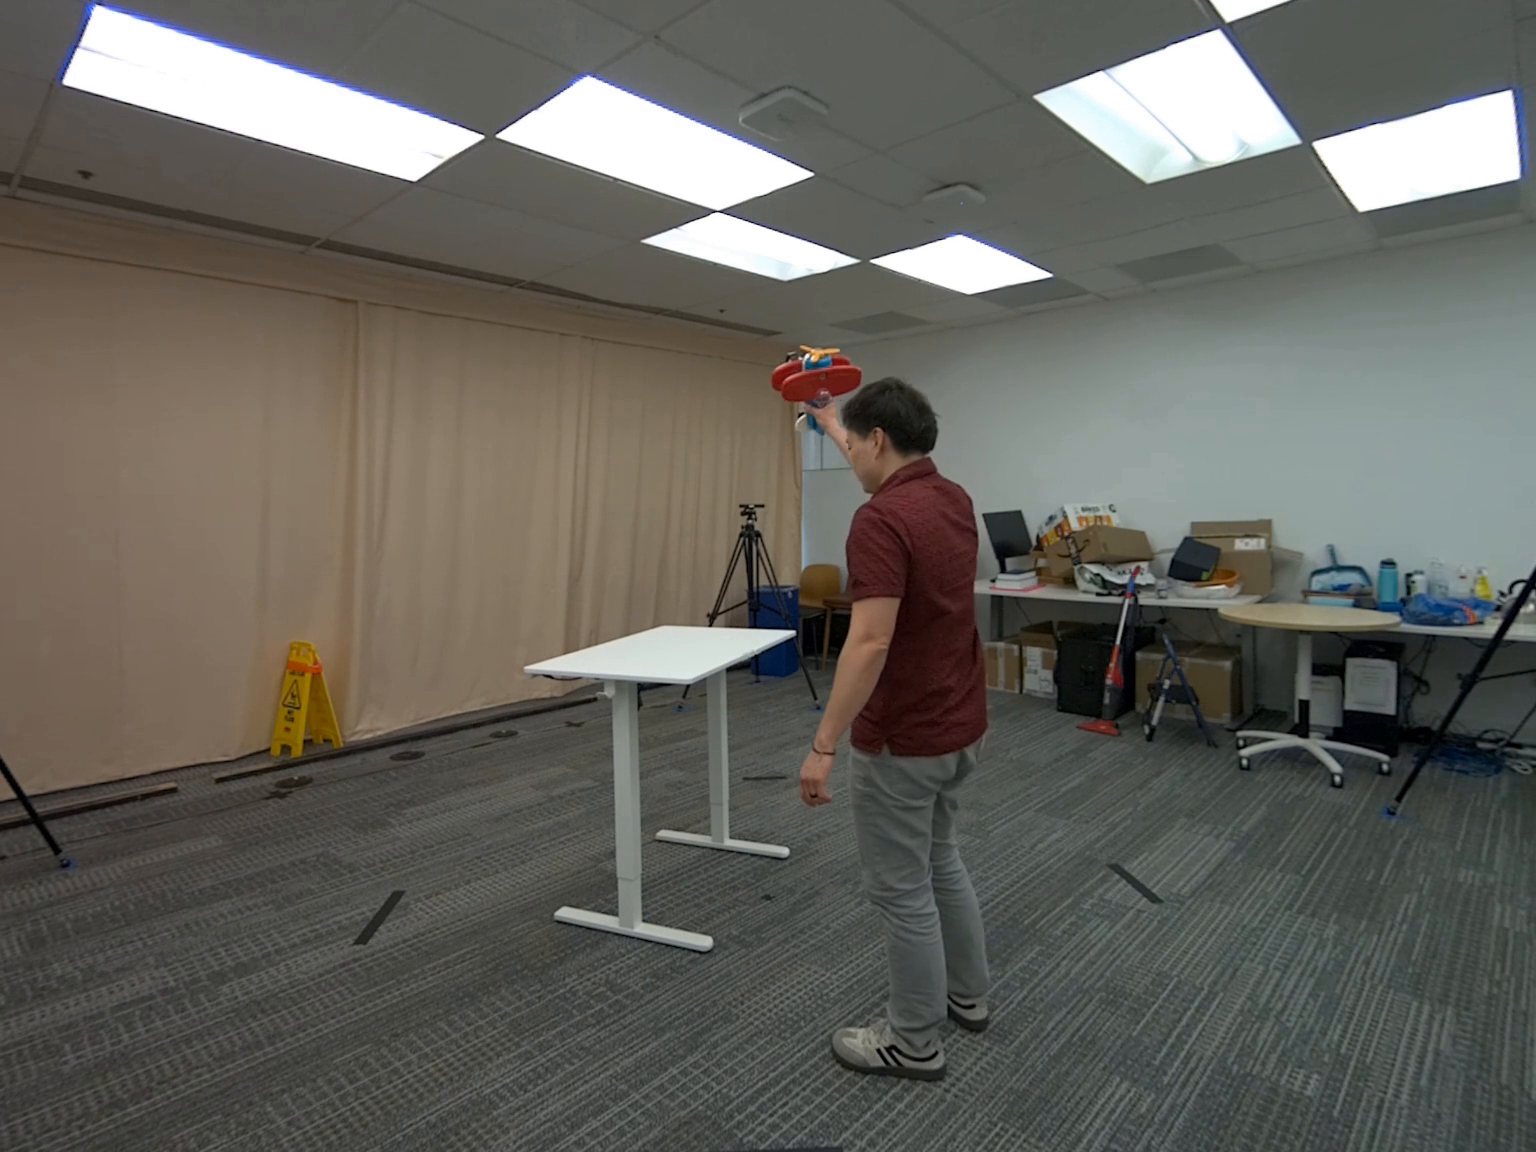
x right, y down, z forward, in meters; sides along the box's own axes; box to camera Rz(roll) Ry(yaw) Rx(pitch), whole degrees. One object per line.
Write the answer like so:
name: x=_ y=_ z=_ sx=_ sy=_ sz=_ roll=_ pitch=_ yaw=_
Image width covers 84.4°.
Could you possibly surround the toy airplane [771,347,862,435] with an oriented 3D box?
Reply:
toy airplane: x=0.161 y=-0.564 z=2.540 sx=0.251 sy=0.252 sz=0.161 roll=-39 pitch=28 yaw=-3
